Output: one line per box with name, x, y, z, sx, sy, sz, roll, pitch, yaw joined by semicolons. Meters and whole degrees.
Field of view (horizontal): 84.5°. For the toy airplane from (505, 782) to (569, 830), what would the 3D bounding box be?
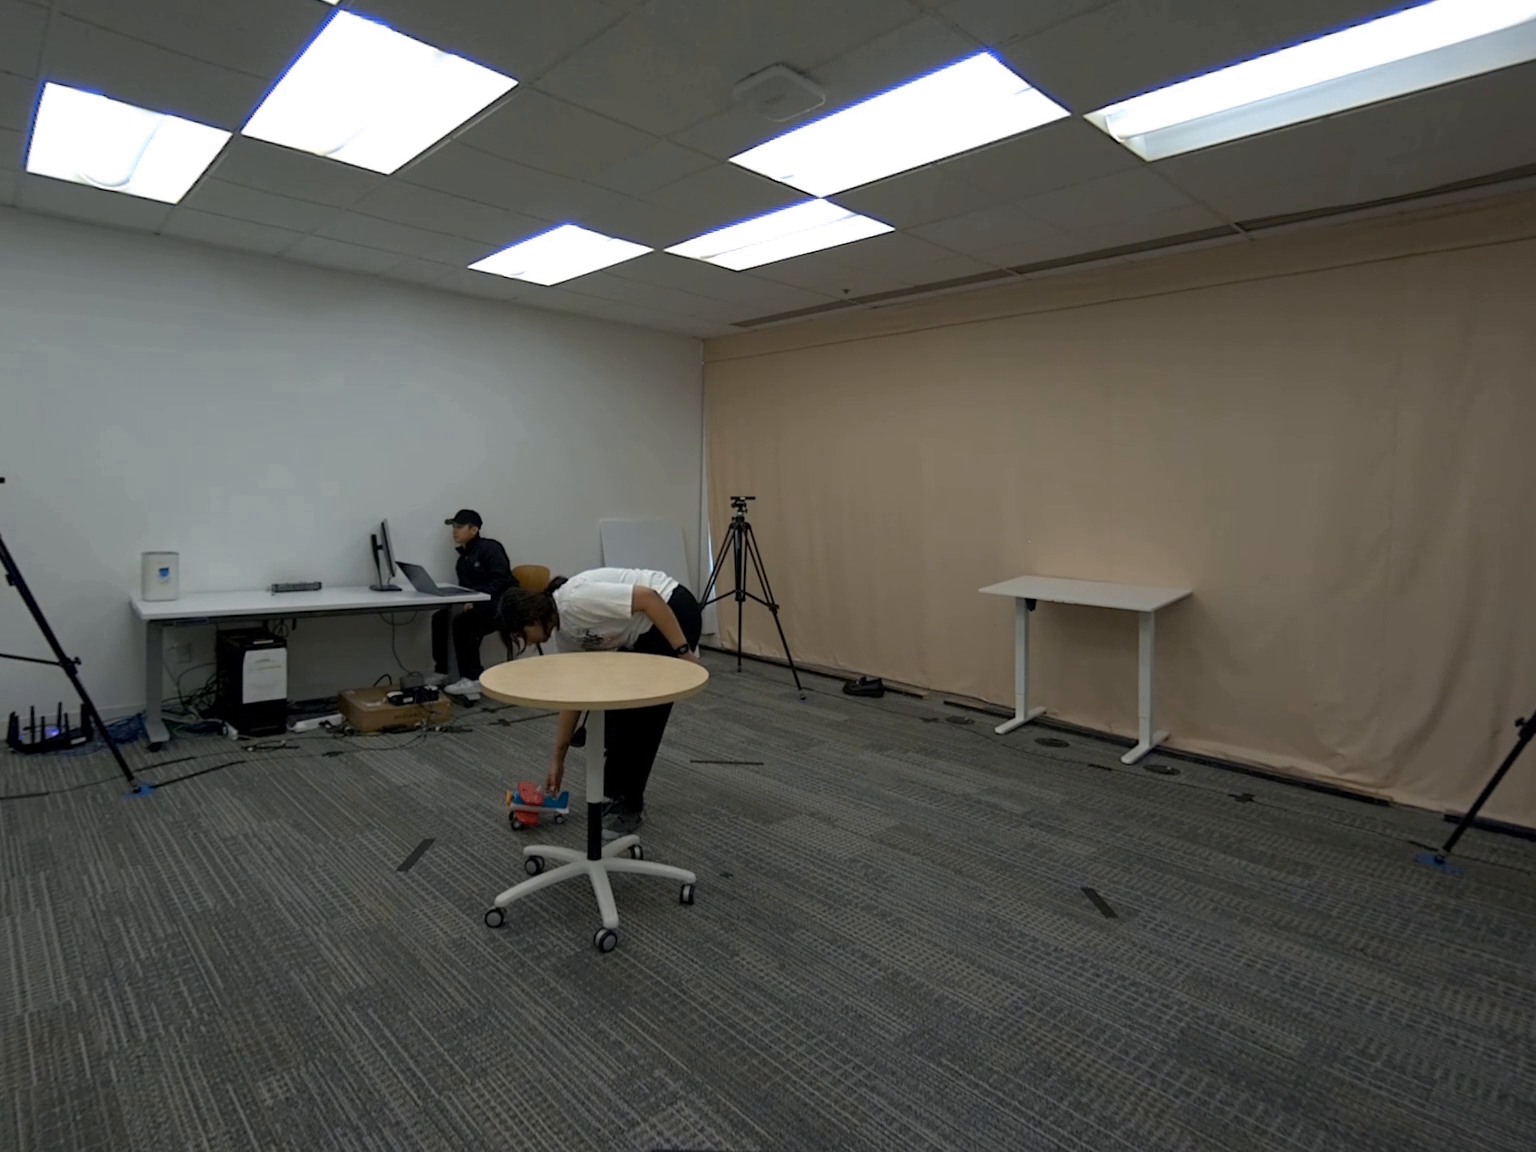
toy airplane;-0.995;0.973;3.559;0.257;0.156;0.253;5;6;41
